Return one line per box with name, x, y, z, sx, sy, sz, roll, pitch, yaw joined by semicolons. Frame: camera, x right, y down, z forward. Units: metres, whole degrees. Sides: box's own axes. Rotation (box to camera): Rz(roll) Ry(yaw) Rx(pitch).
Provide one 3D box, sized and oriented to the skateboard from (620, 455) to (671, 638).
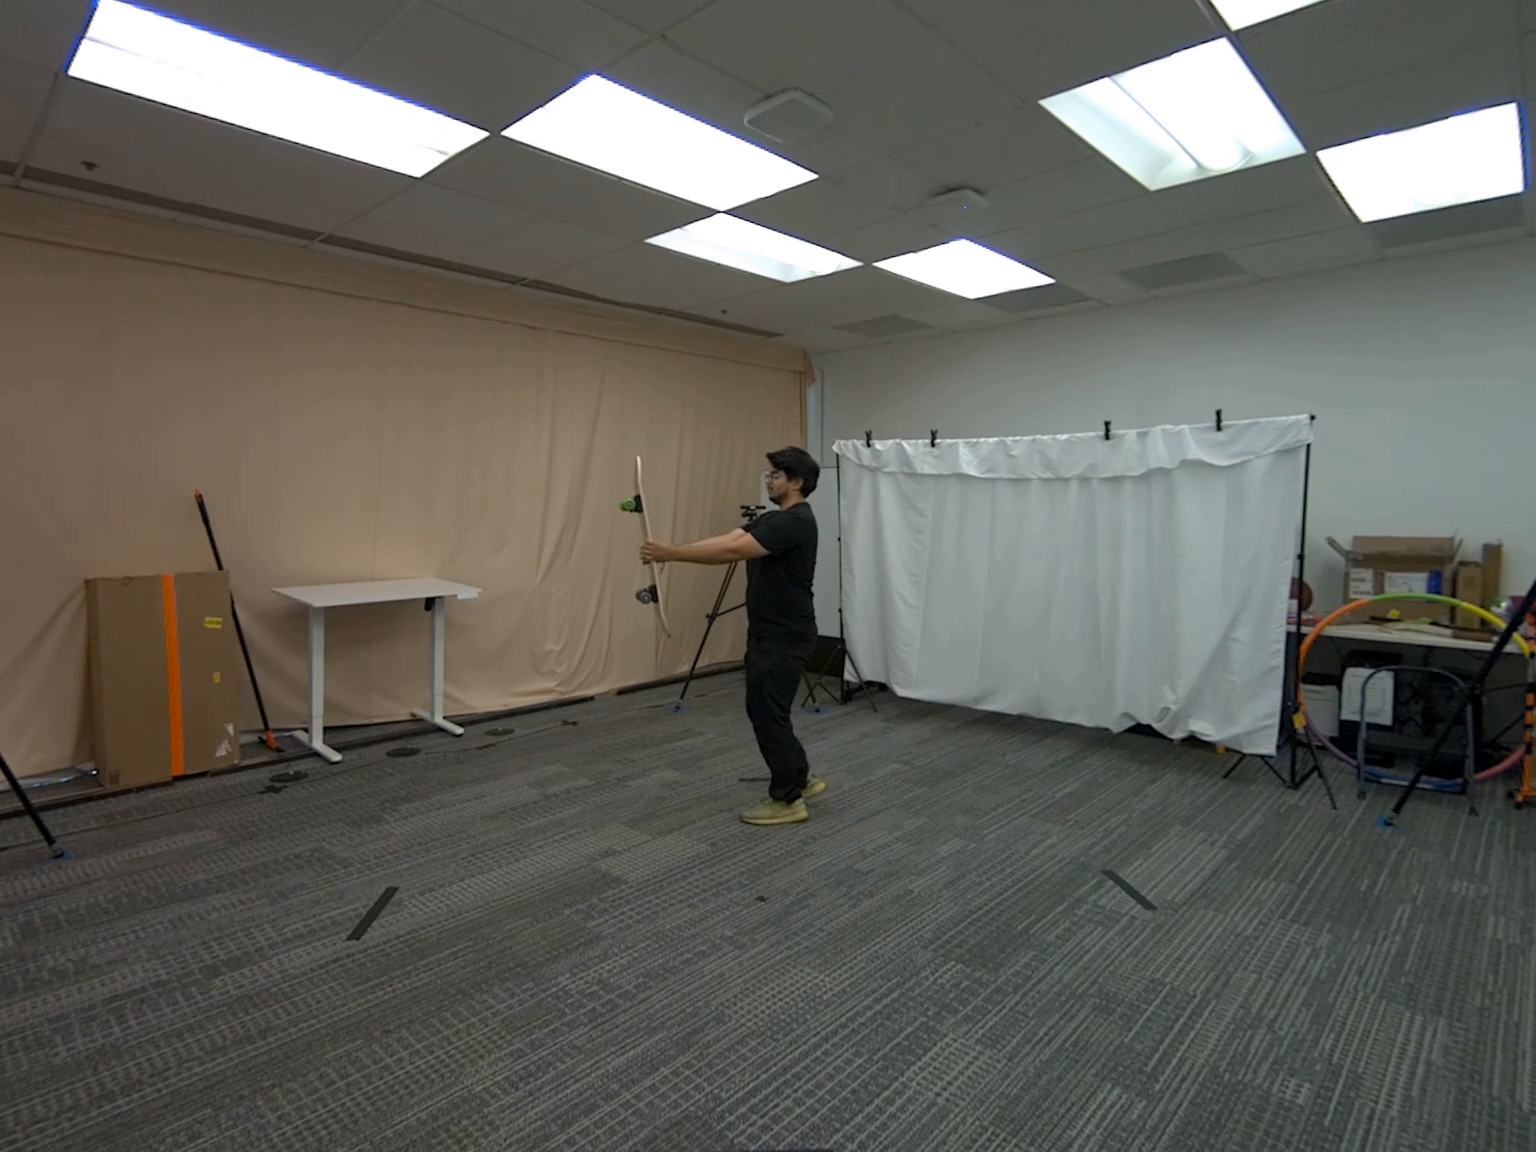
skateboard;-0.531;-0.110;3.607;0.109;0.784;0.196;-10;2;-13
